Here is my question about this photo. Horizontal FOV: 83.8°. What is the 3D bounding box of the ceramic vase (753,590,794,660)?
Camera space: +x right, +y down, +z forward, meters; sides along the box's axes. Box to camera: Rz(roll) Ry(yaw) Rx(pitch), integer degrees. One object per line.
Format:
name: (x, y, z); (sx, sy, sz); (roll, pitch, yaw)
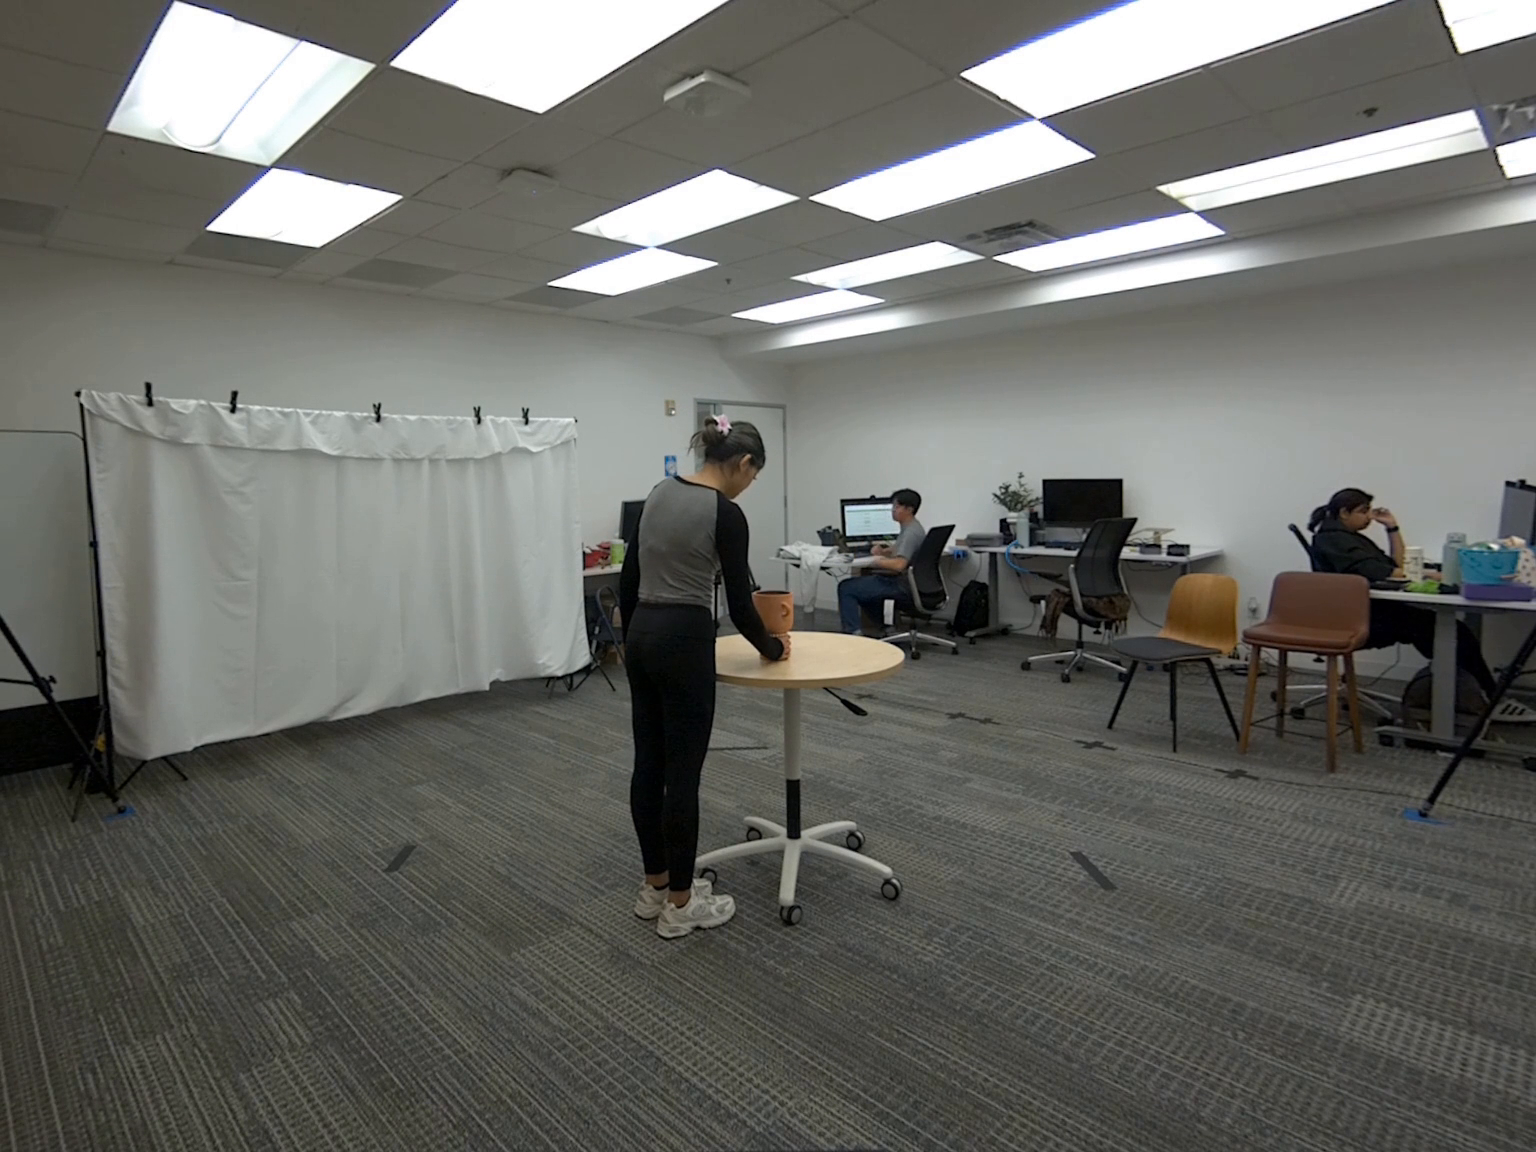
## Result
ceramic vase: (0.023, 0.165, 2.861); (0.136, 0.219, 0.158); (0, 5, 9)
